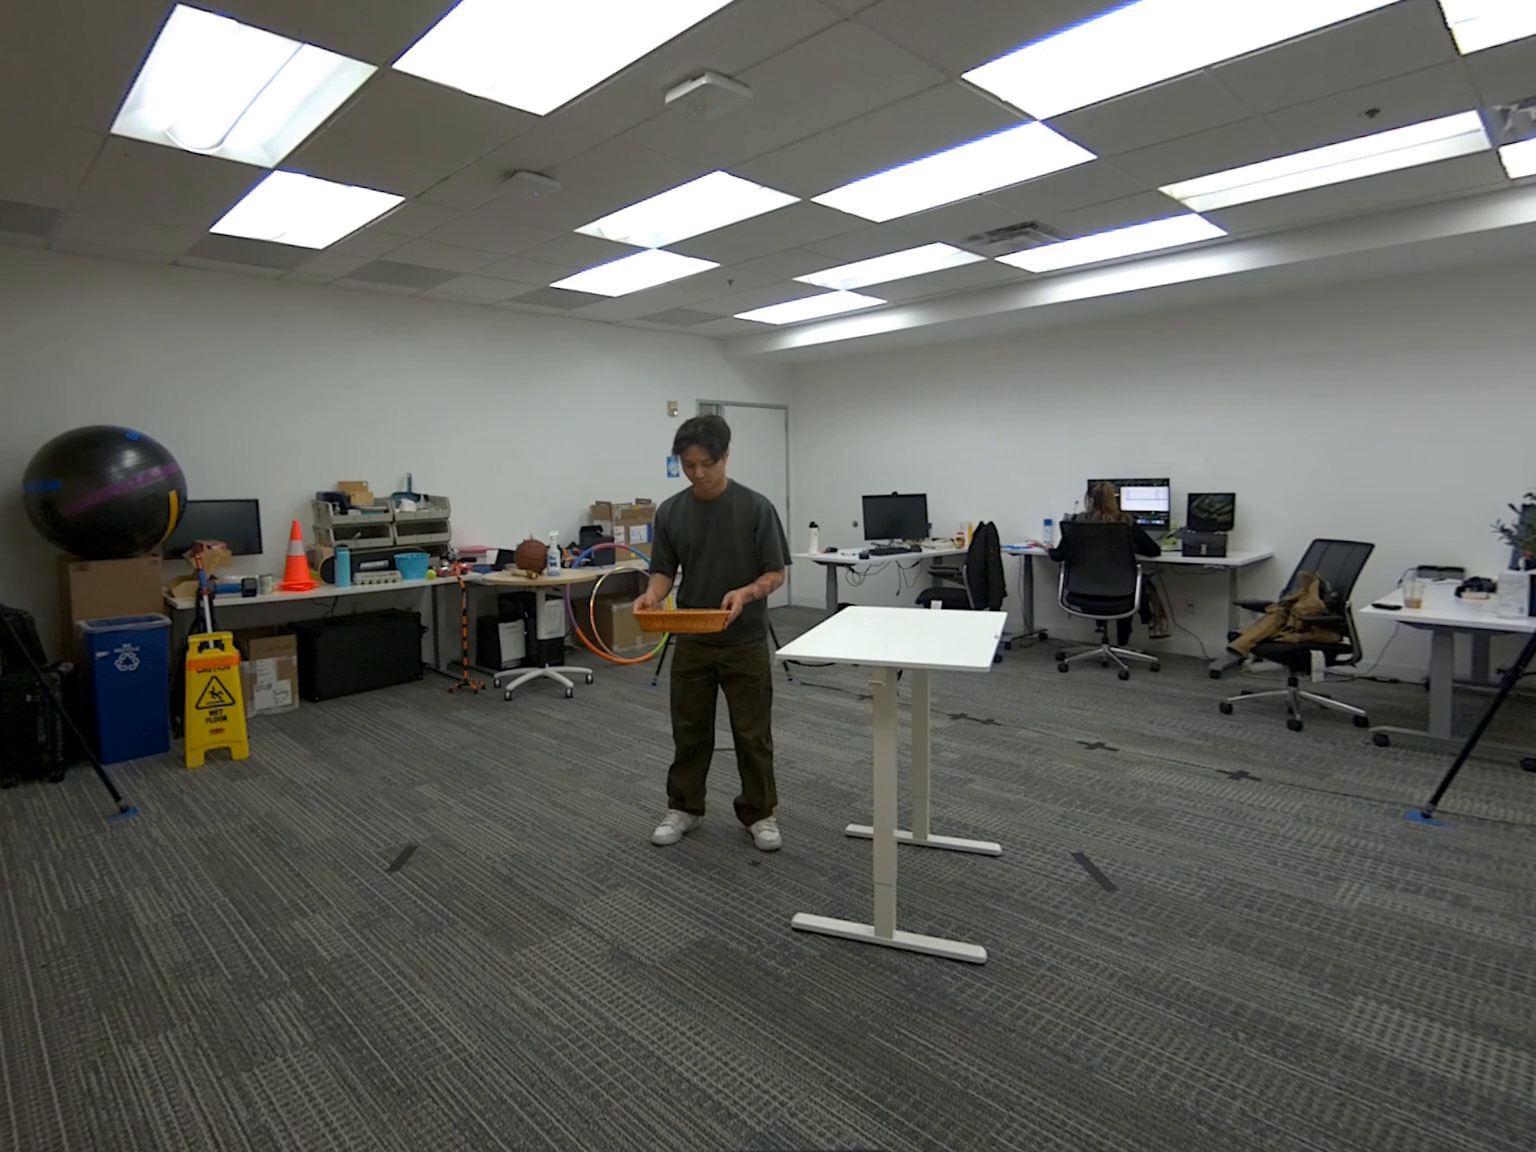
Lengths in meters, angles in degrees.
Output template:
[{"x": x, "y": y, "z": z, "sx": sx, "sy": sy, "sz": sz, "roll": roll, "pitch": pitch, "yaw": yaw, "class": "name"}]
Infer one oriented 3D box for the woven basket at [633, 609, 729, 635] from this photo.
[{"x": -0.299, "y": 0.162, "z": 2.967, "sx": 0.358, "sy": 0.073, "sz": 0.247, "roll": -1, "pitch": 1, "yaw": 25, "class": "woven basket"}]
